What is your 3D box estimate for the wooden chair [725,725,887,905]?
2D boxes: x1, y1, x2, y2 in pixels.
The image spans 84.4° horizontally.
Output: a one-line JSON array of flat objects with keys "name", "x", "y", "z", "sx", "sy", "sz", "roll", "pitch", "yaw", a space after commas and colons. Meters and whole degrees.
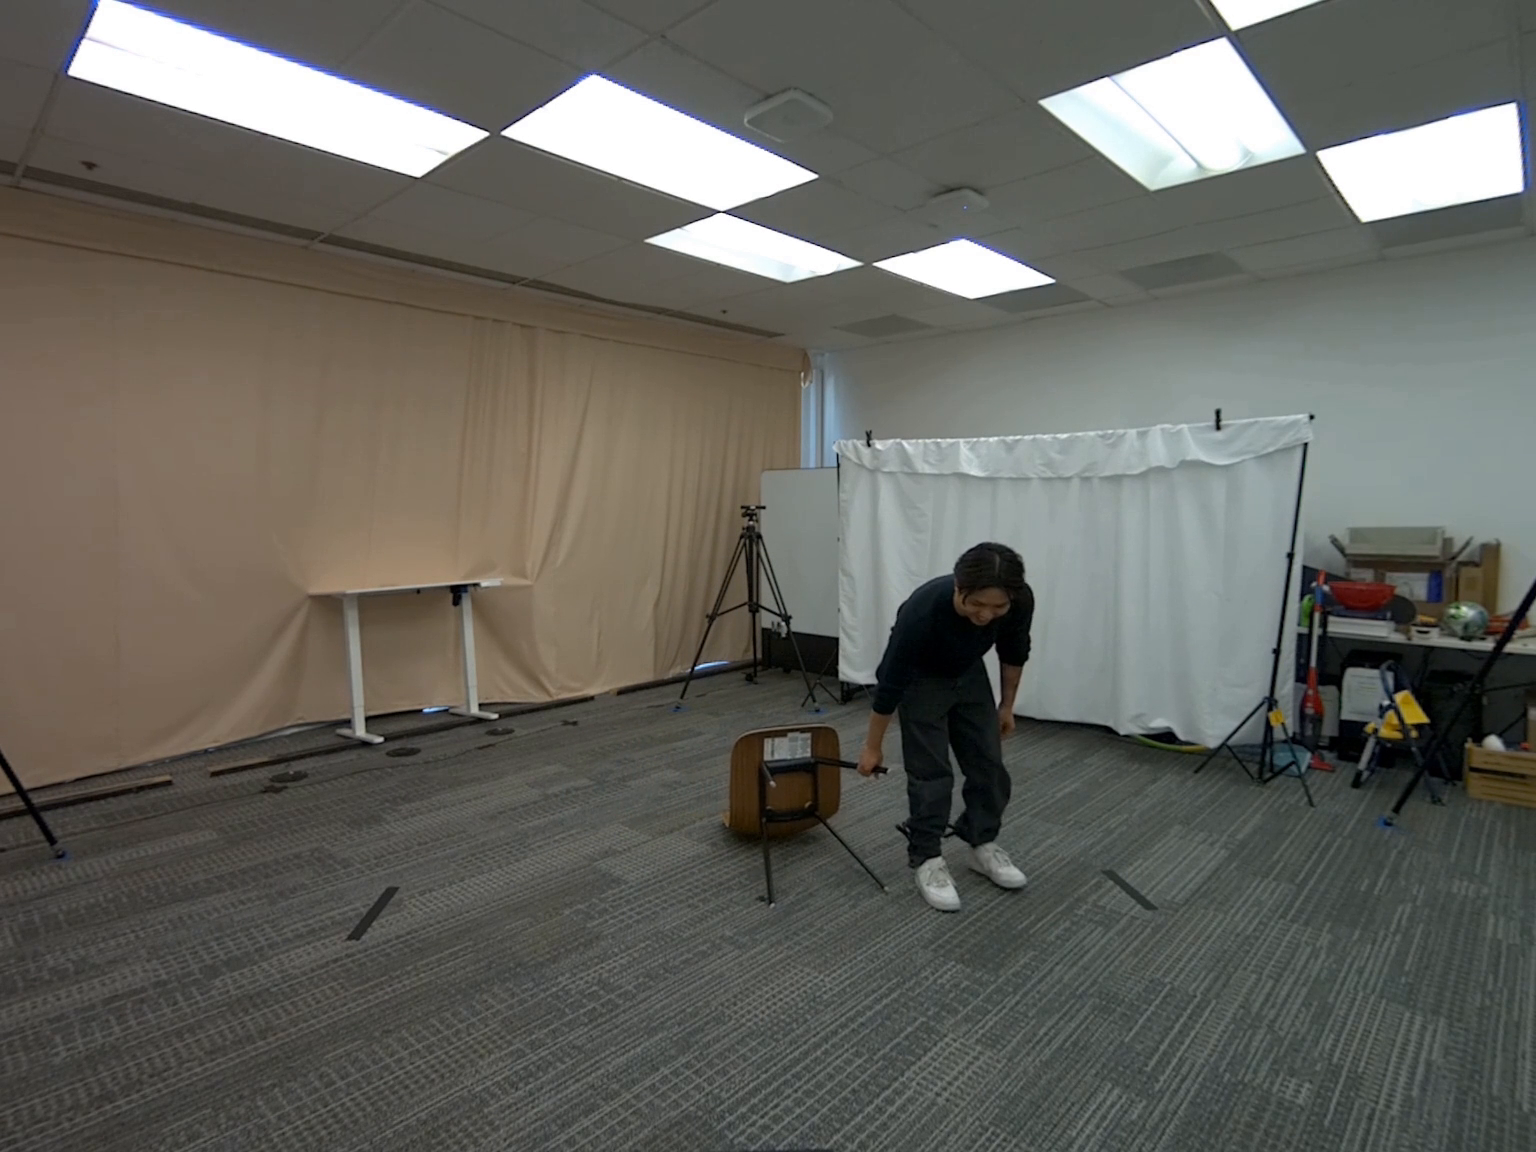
[{"name": "wooden chair", "x": 0.092, "y": 0.853, "z": 3.345, "sx": 0.470, "sy": 0.522, "sz": 0.893, "roll": -2, "pitch": 3, "yaw": -17}]
